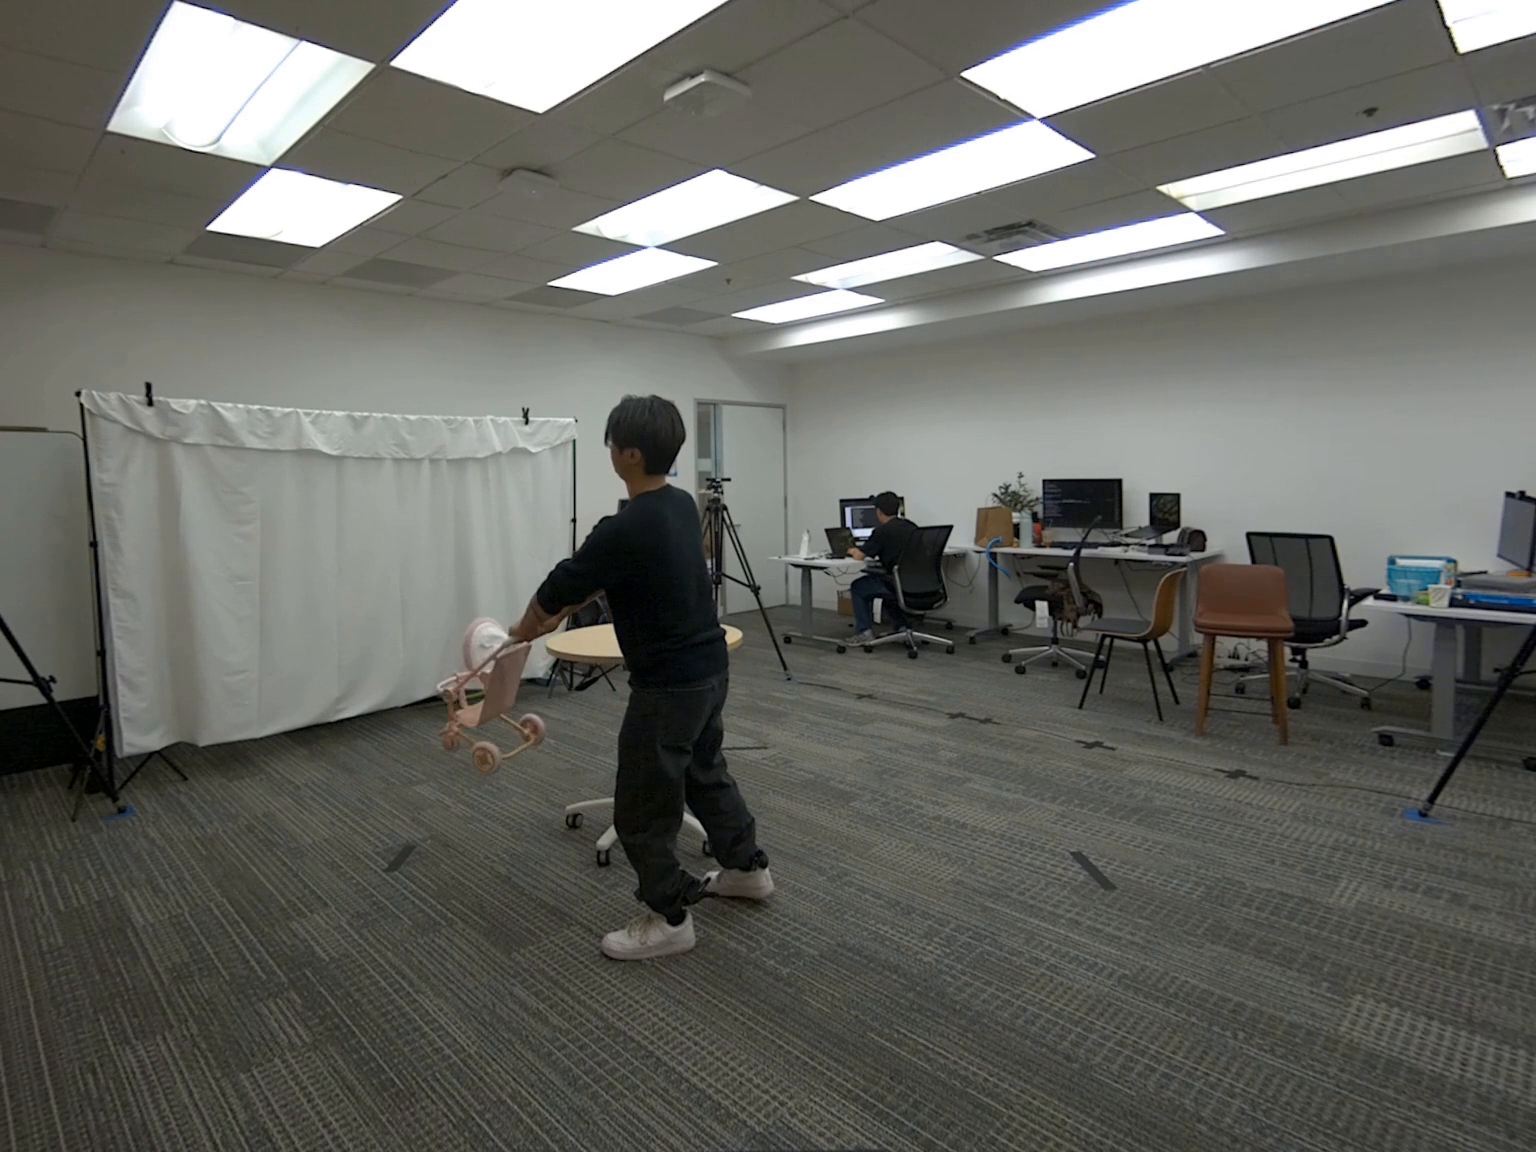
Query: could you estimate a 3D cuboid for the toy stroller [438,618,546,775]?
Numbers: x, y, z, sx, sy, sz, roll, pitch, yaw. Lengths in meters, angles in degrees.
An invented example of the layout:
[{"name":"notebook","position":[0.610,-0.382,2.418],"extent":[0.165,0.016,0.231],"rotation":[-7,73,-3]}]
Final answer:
[{"name":"toy stroller","position":[-0.910,0.372,2.803],"extent":[0.350,0.529,0.277],"rotation":[15,15,24]}]
